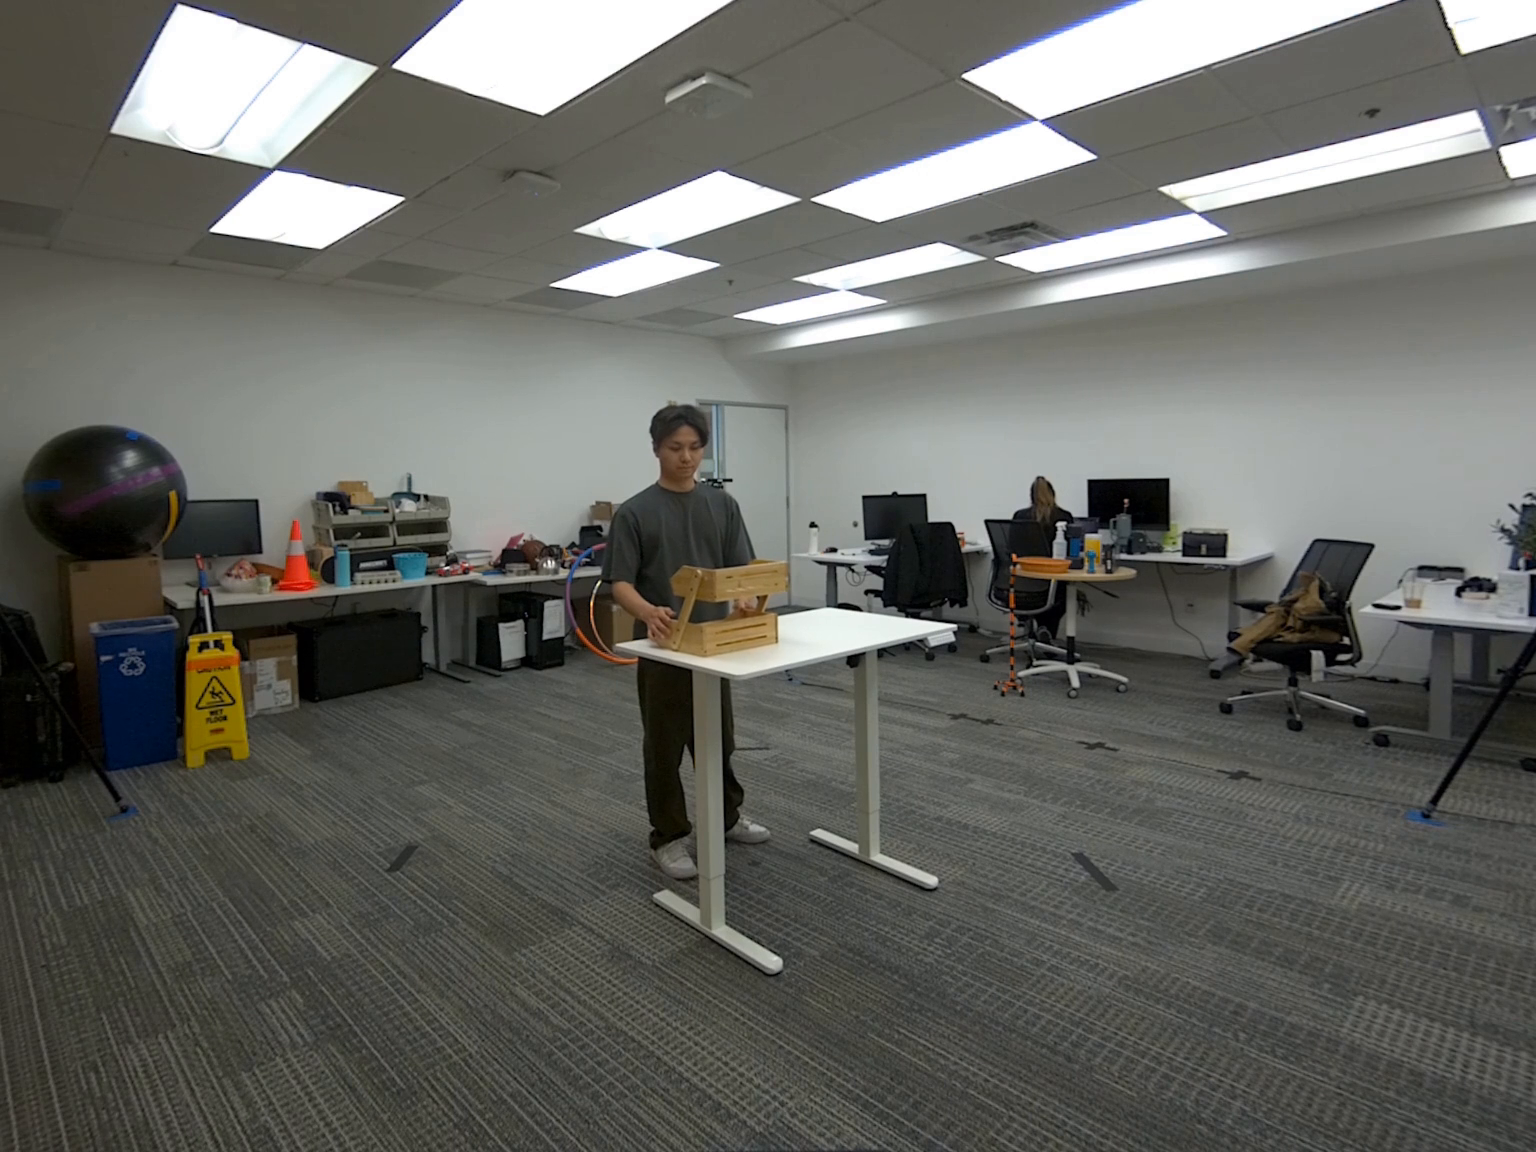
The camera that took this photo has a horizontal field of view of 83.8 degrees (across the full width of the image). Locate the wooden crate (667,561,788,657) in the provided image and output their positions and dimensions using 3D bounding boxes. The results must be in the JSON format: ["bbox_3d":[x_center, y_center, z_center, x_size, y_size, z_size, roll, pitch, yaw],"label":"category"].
[{"bbox_3d":[-0.142,0.086,2.652,0.316,0.272,0.311,-6,8,-42],"label":"wooden crate"}]
